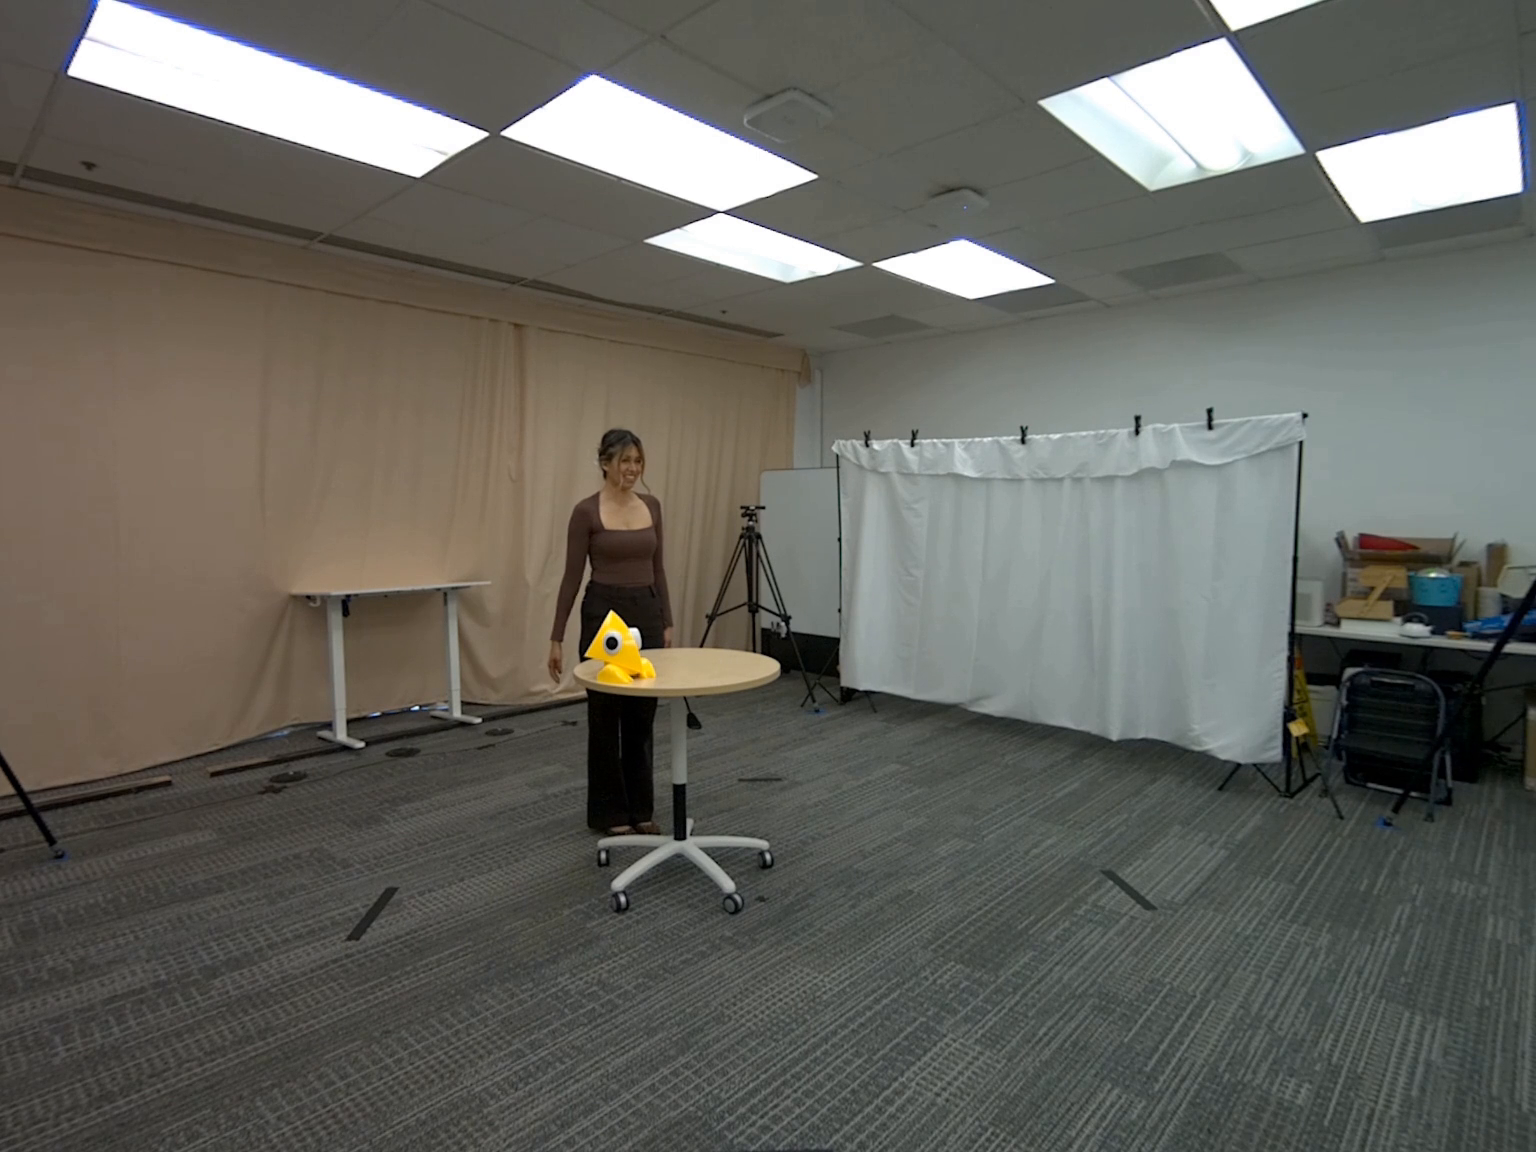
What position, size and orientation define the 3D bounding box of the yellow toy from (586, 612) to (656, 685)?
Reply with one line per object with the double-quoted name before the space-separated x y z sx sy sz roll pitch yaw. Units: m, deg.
"yellow toy" -0.503 0.240 2.953 0.199 0.230 0.199 4 6 40
